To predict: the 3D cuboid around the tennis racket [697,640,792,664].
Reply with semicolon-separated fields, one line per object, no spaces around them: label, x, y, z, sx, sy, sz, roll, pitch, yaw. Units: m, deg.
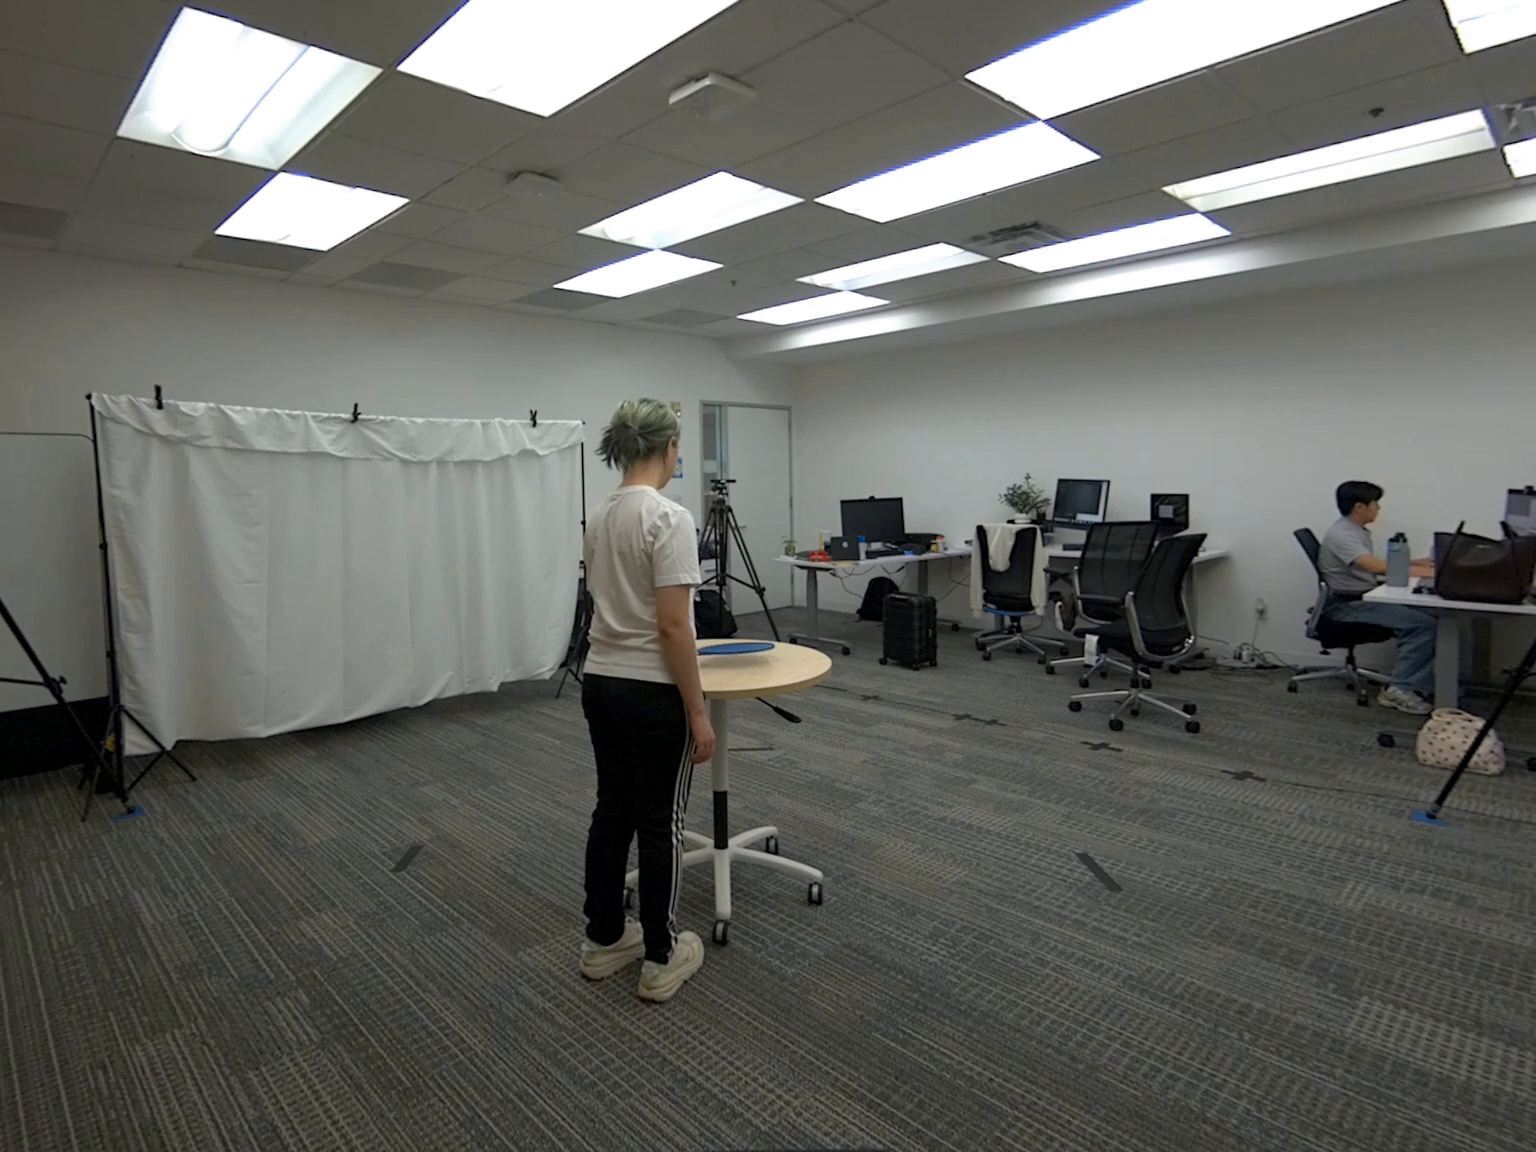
tennis racket;-0.166;0.252;2.839;0.423;0.032;0.219;-4;1;-30
